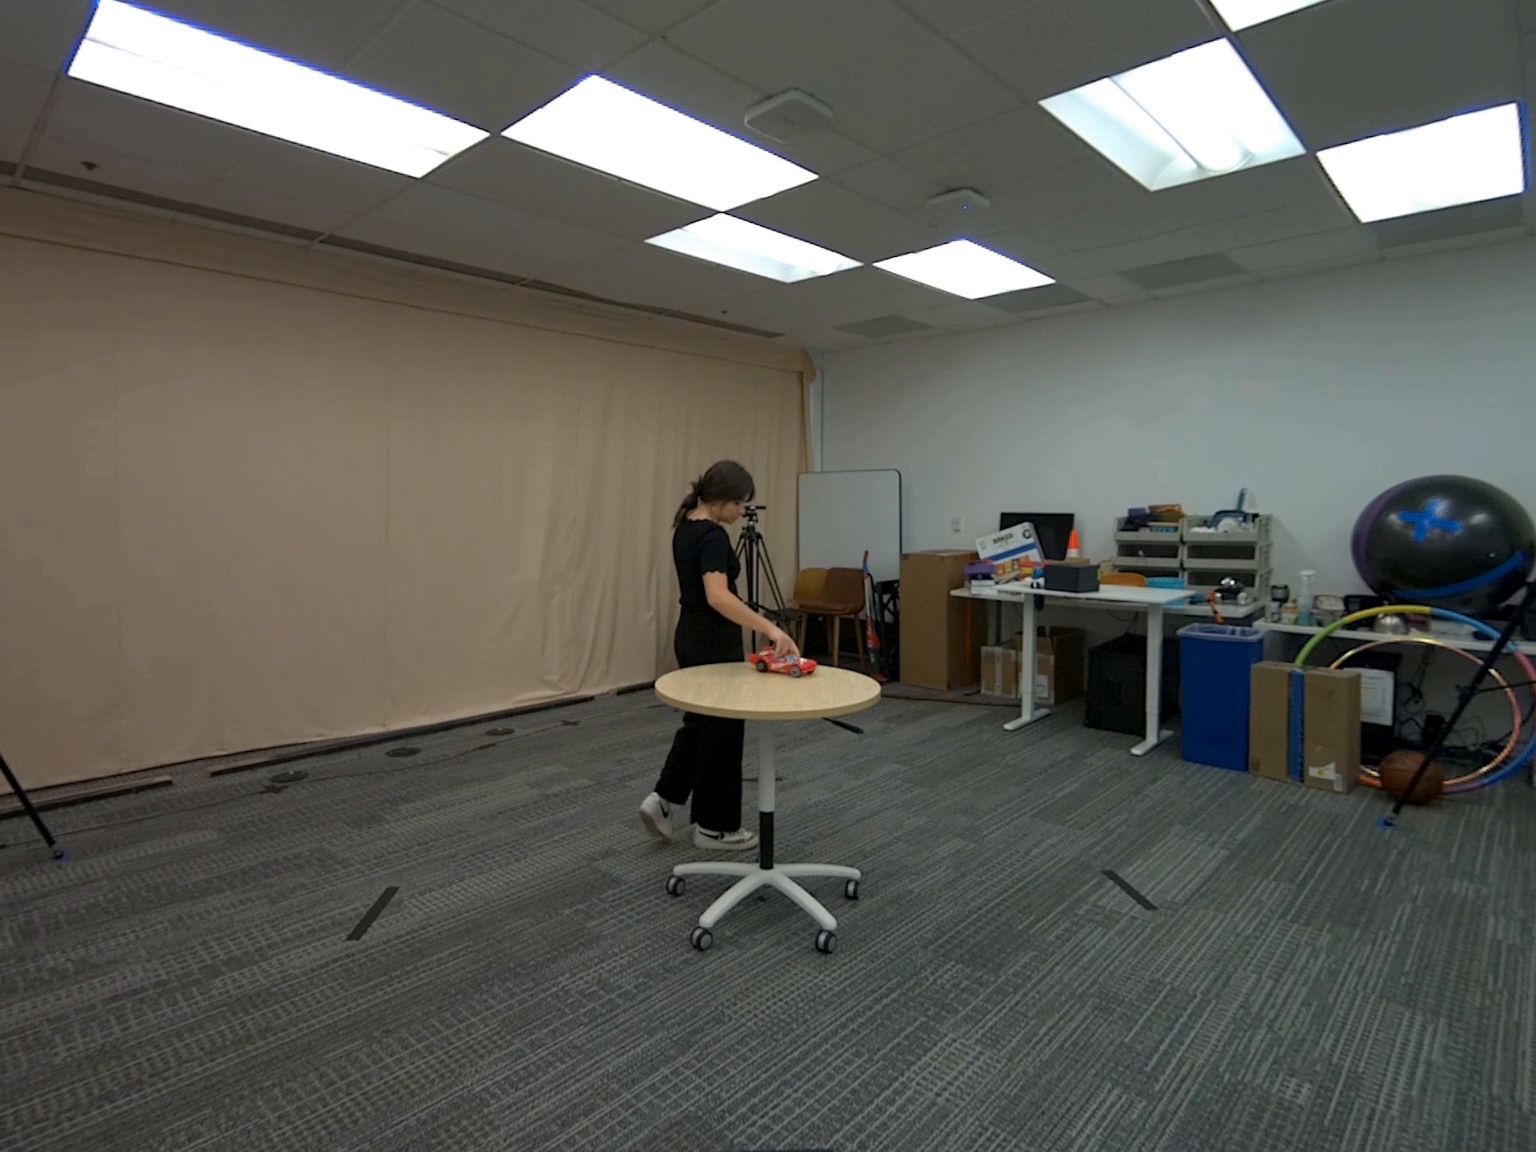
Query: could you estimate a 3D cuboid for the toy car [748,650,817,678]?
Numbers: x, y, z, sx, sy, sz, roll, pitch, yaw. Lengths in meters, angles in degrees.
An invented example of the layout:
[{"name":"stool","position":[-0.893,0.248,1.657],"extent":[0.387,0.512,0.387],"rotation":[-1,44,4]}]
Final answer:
[{"name":"toy car","position":[0.047,0.319,3.069],"extent":[0.263,0.083,0.126],"rotation":[17,13,33]}]
